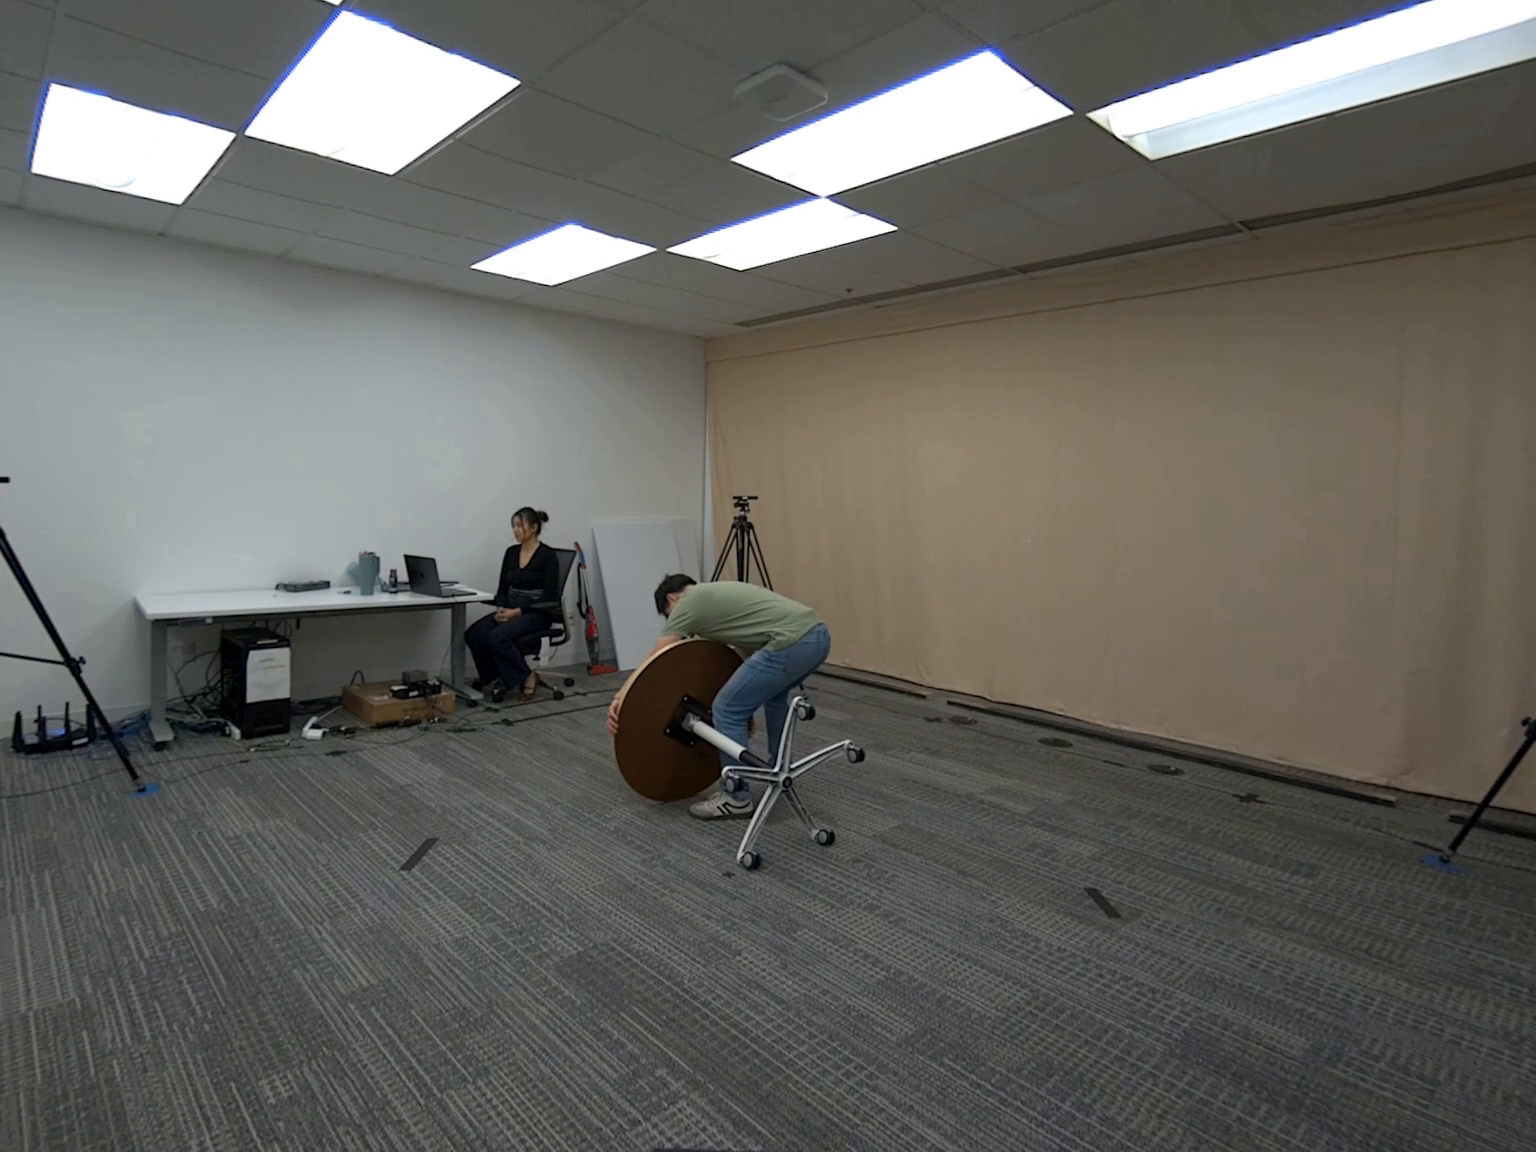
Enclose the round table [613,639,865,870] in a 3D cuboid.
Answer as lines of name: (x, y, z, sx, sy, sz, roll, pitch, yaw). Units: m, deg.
round table: (-0.138, 0.737, 3.515, 0.747, 0.759, 0.817, -2, 12, -39)
